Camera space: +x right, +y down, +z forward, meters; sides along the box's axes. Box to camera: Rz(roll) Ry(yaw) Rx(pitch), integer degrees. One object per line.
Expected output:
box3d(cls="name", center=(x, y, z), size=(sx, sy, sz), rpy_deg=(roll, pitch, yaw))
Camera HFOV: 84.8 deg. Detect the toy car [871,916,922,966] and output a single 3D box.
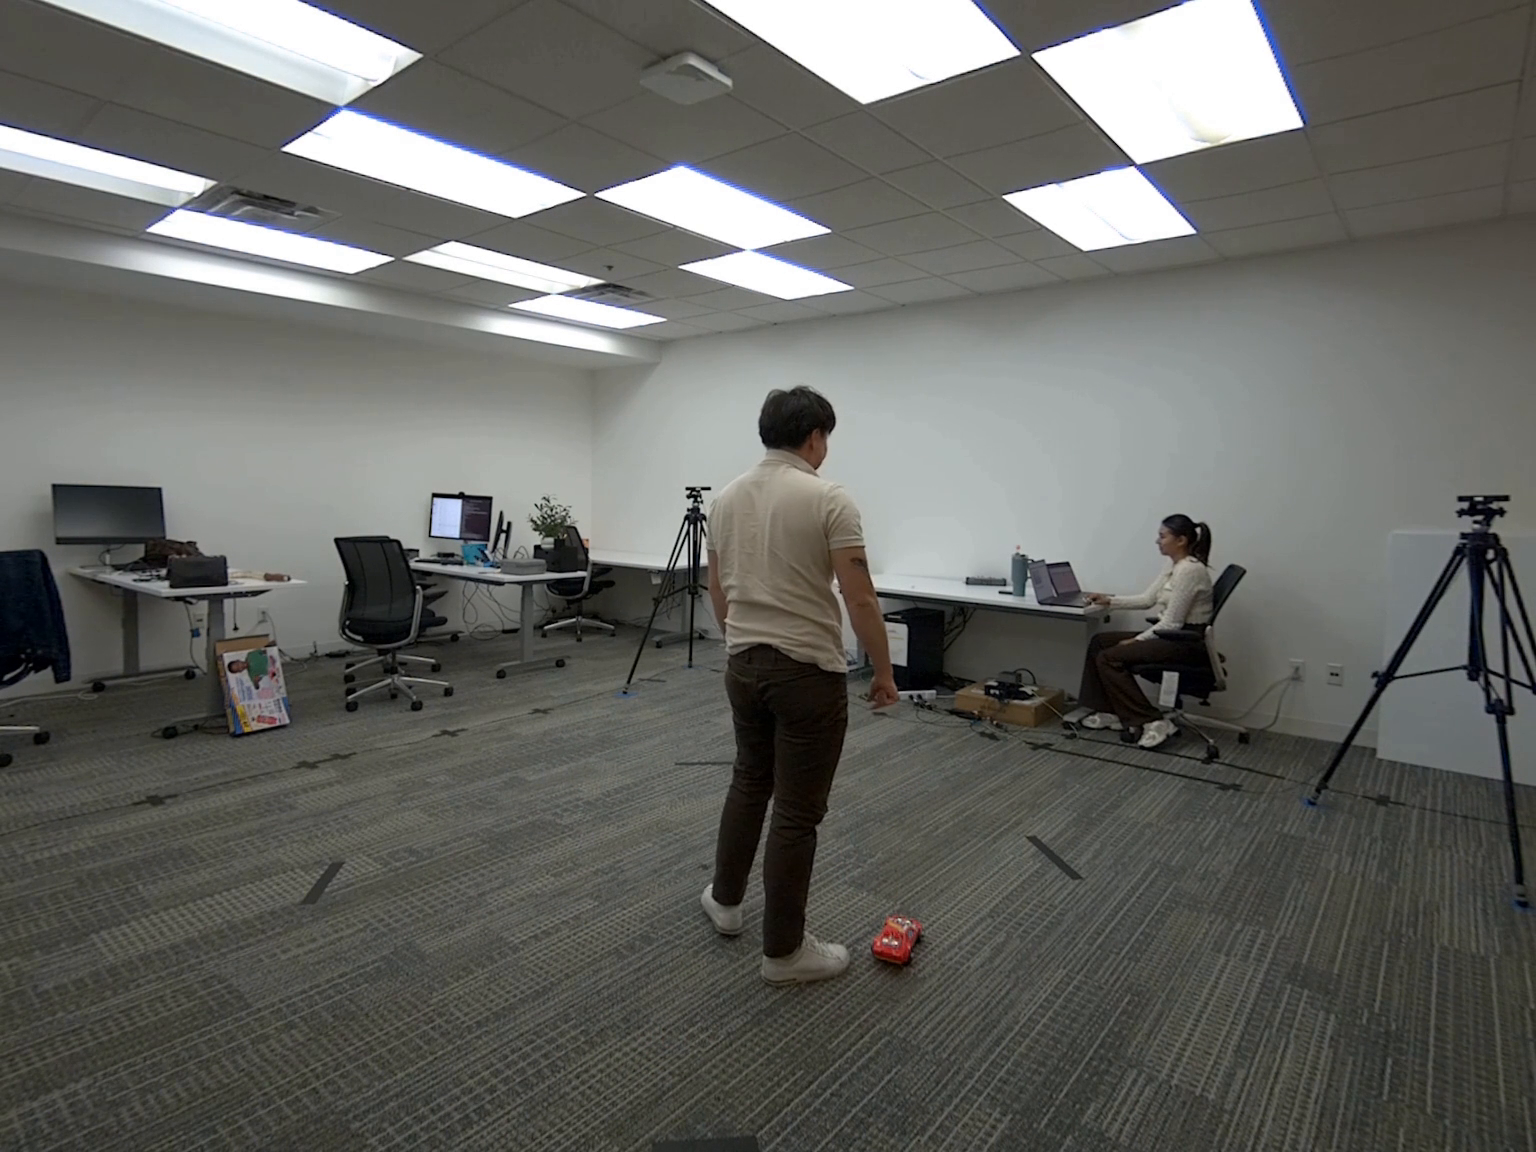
box3d(cls="toy car", center=(0.387, 1.103, 2.568), size=(0.134, 0.083, 0.247), rpy_deg=(4, -6, 24))
